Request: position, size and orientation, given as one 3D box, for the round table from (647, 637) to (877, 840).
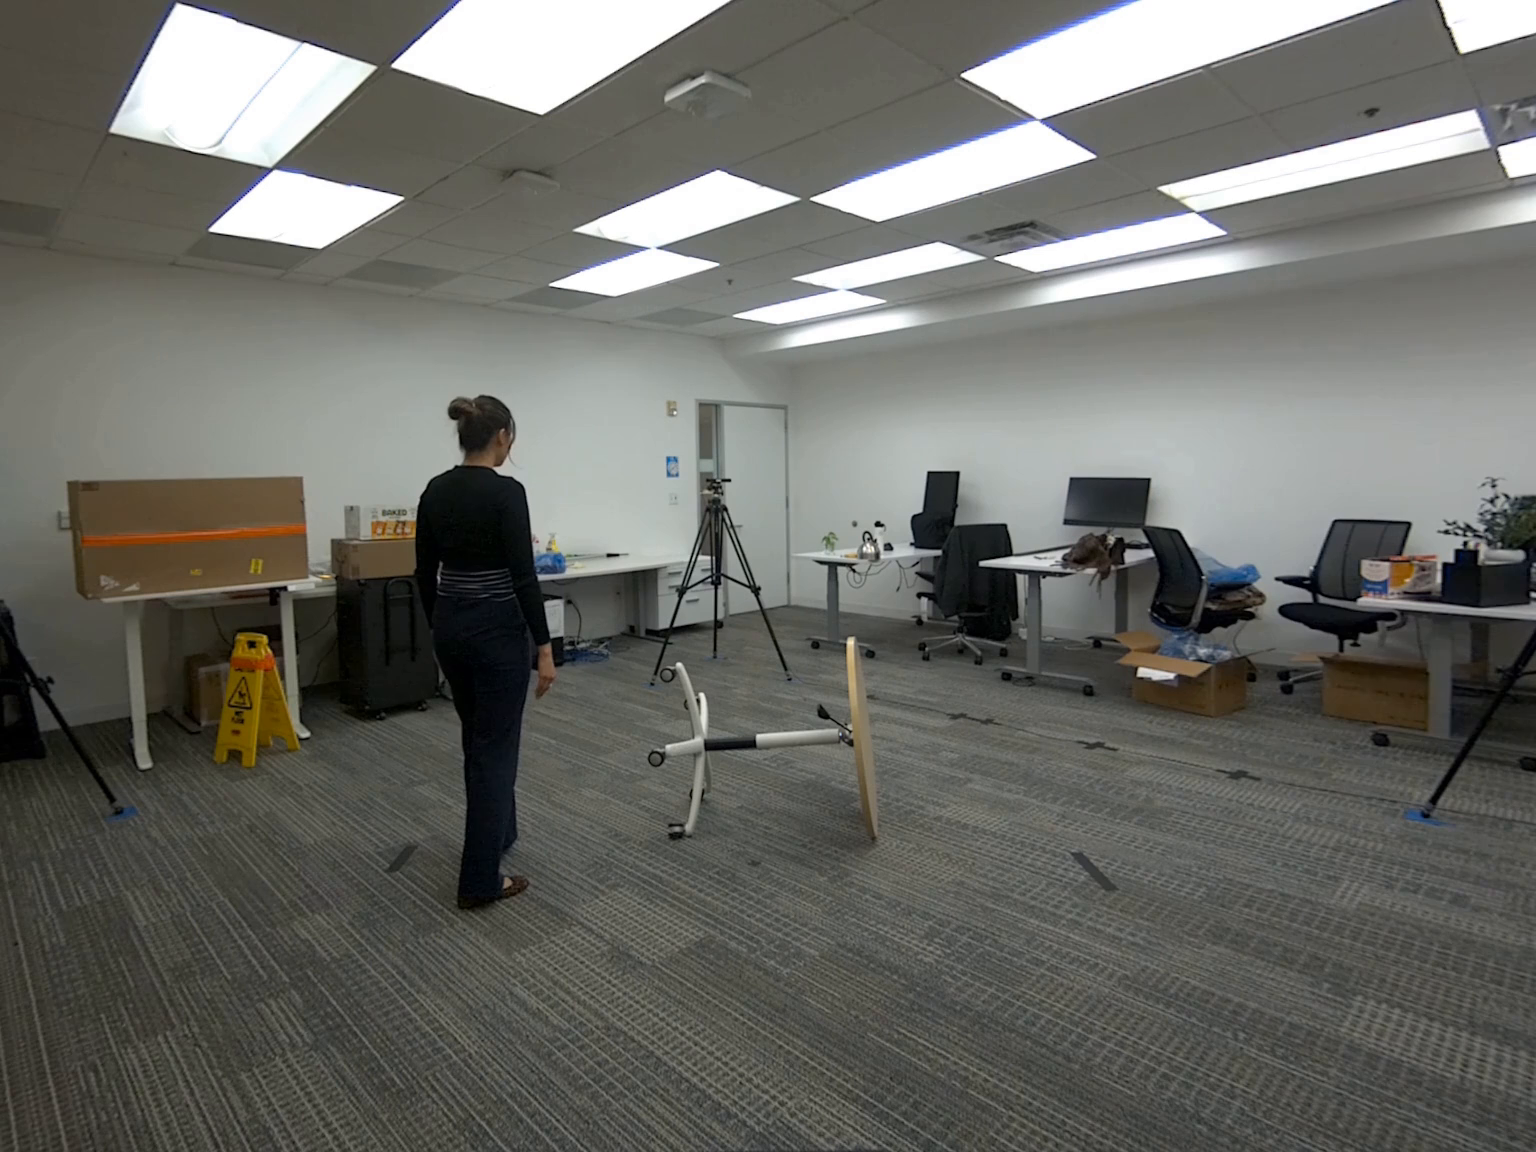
[{"bbox_3d":[-0.005,0.664,3.449,0.801,0.762,0.760,-6,4,9],"label":"round table"}]
